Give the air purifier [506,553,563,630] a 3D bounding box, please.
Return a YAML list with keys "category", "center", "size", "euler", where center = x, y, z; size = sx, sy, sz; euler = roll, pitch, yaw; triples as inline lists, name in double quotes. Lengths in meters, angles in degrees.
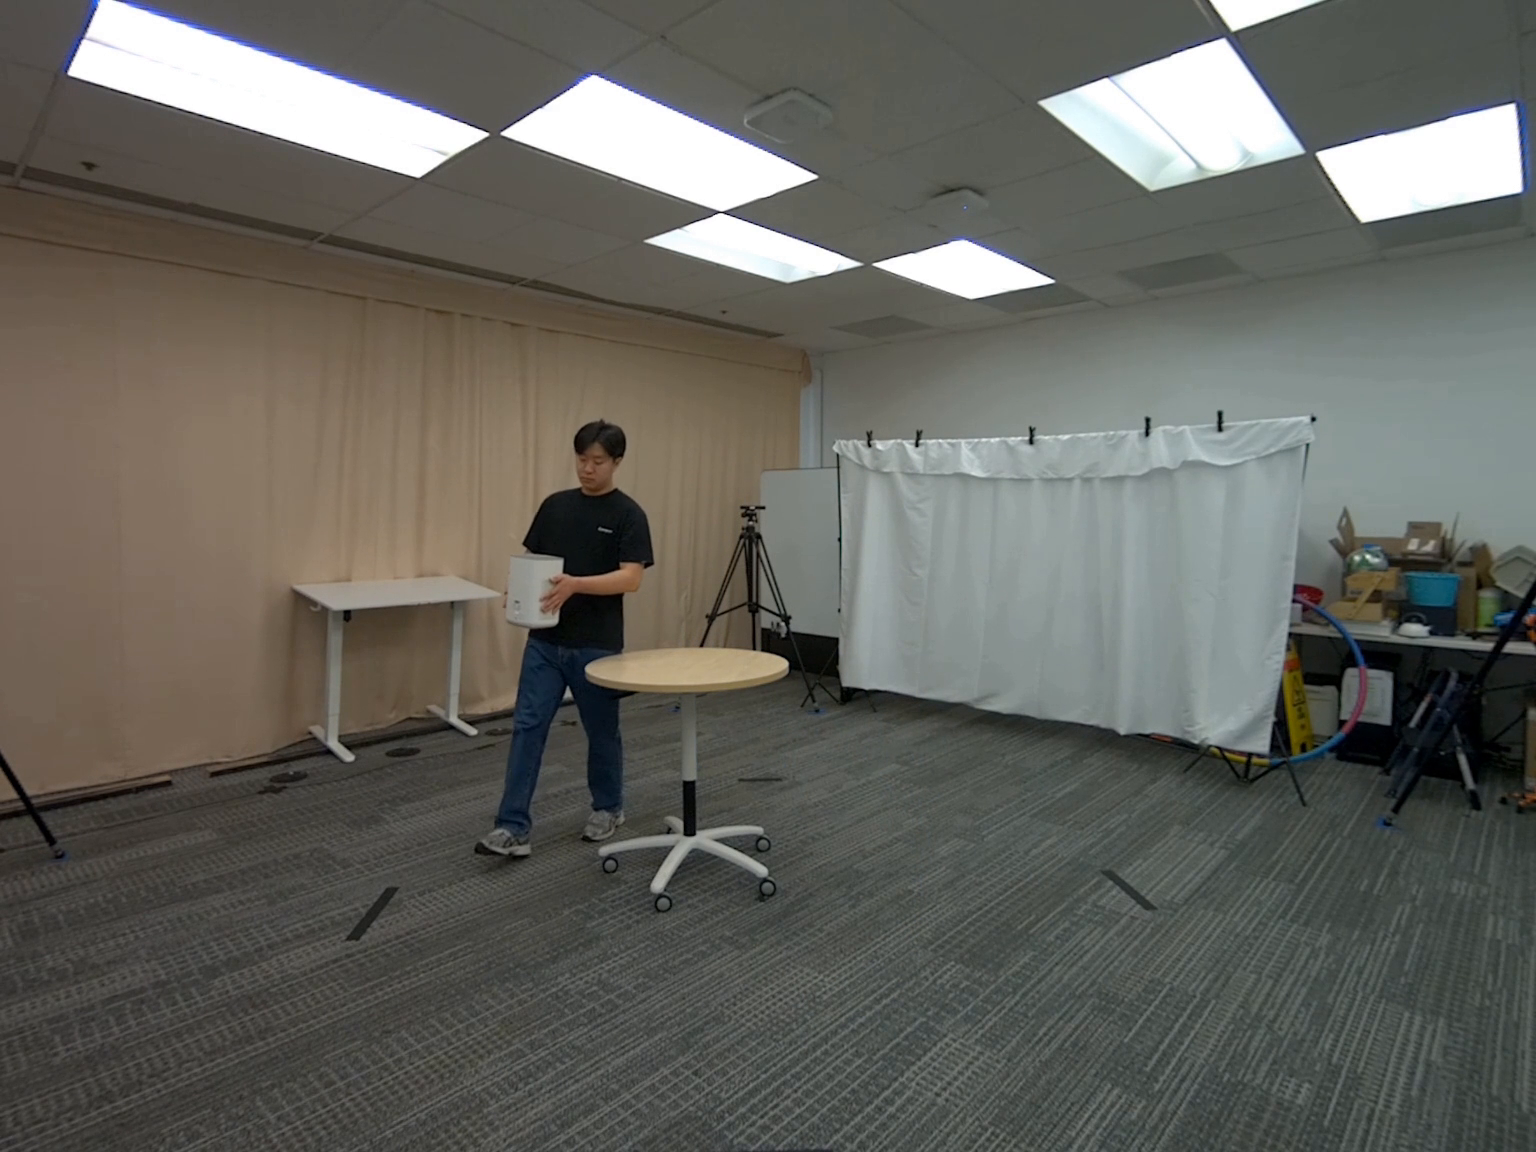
- category: "air purifier"
  center: [-0.892, 0.057, 3.192]
  size: [0.176, 0.265, 0.167]
  euler: [7, 4, 26]
